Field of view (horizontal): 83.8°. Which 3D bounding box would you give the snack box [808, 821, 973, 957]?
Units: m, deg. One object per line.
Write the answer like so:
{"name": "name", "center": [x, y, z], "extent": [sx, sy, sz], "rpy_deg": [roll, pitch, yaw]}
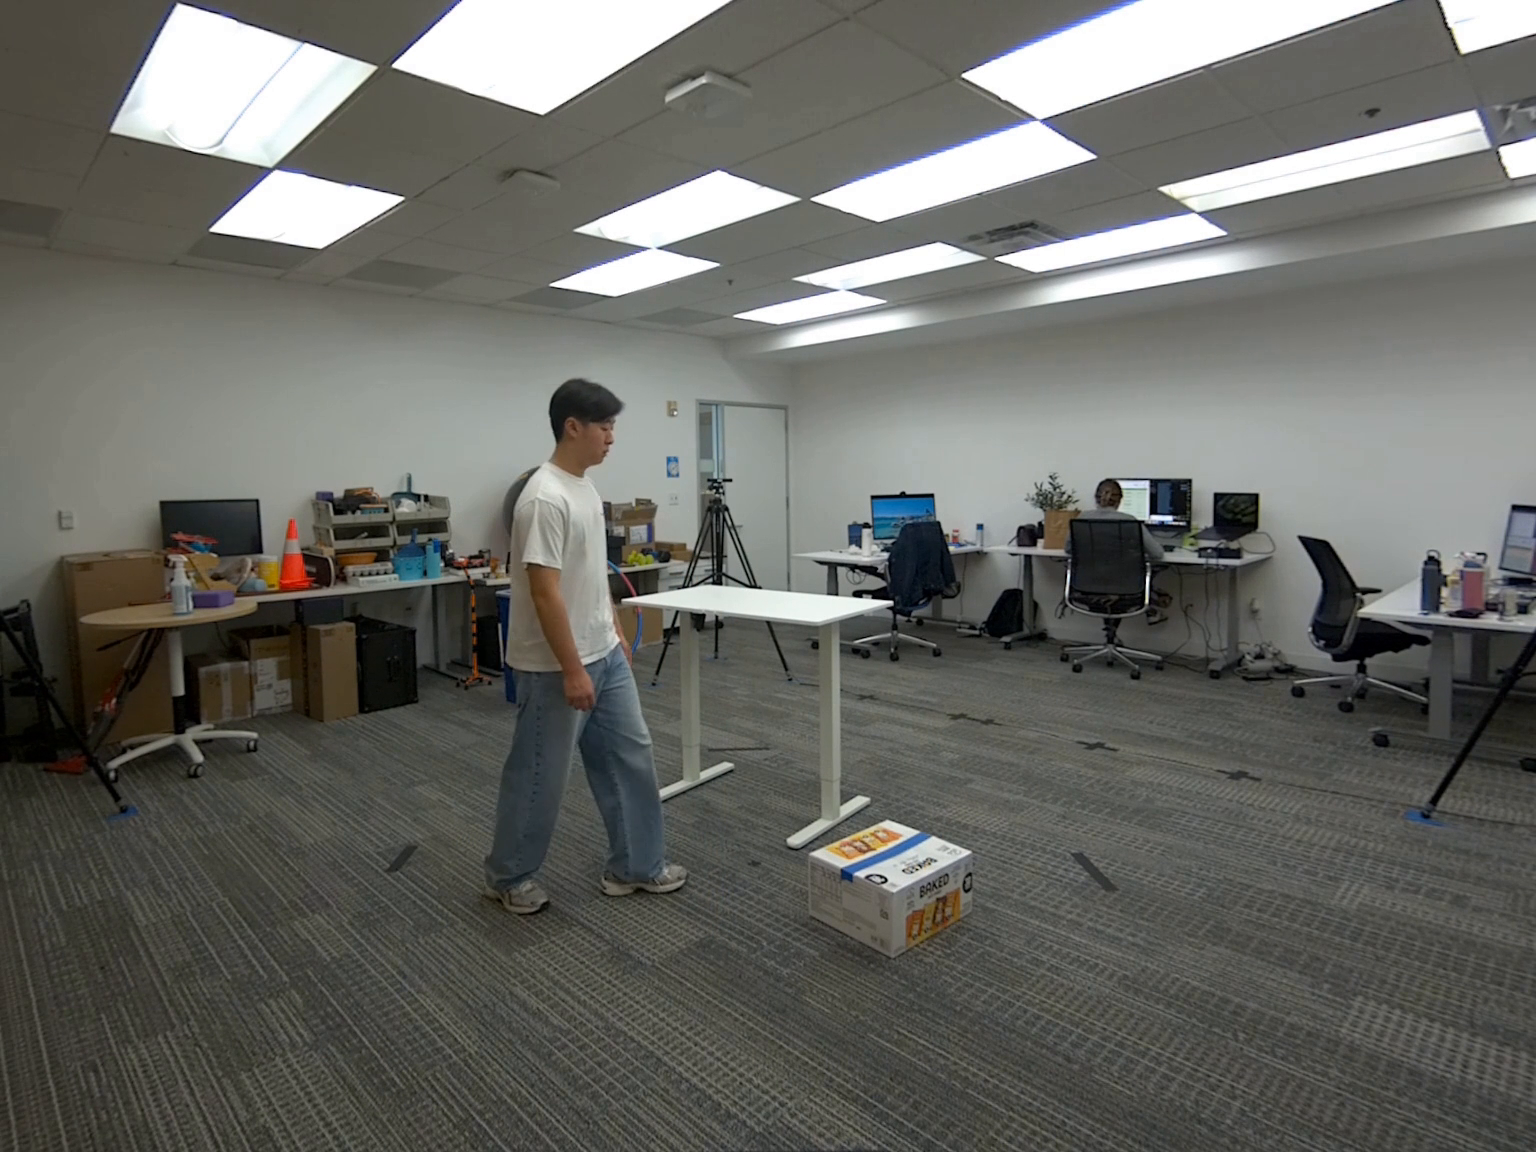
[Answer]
{"name": "snack box", "center": [0.387, 0.974, 2.718], "extent": [0.394, 0.205, 0.351], "rpy_deg": [-6, 8, -41]}
